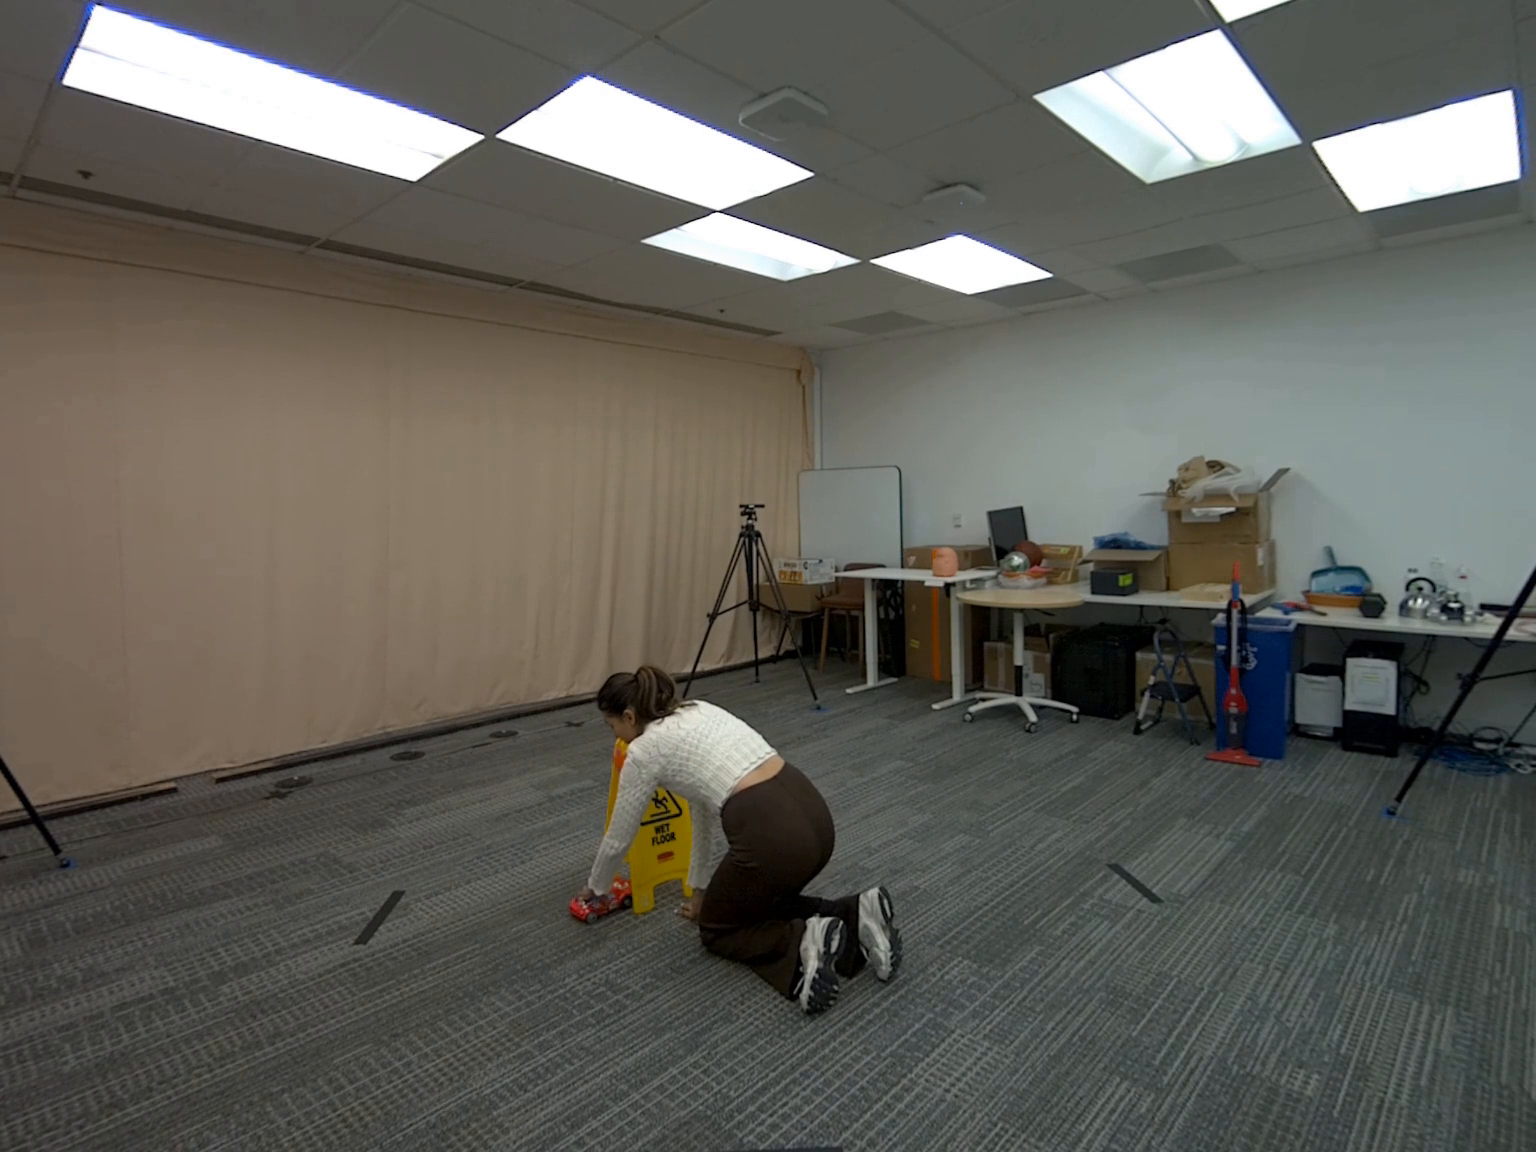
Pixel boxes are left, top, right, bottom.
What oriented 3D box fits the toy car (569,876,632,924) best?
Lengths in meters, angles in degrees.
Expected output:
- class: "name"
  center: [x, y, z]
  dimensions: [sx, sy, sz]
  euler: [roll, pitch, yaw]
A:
- class: "toy car"
  center: [-0.572, 1.124, 2.929]
  dimensions: [0.248, 0.082, 0.134]
  euler: [-21, 17, -40]
